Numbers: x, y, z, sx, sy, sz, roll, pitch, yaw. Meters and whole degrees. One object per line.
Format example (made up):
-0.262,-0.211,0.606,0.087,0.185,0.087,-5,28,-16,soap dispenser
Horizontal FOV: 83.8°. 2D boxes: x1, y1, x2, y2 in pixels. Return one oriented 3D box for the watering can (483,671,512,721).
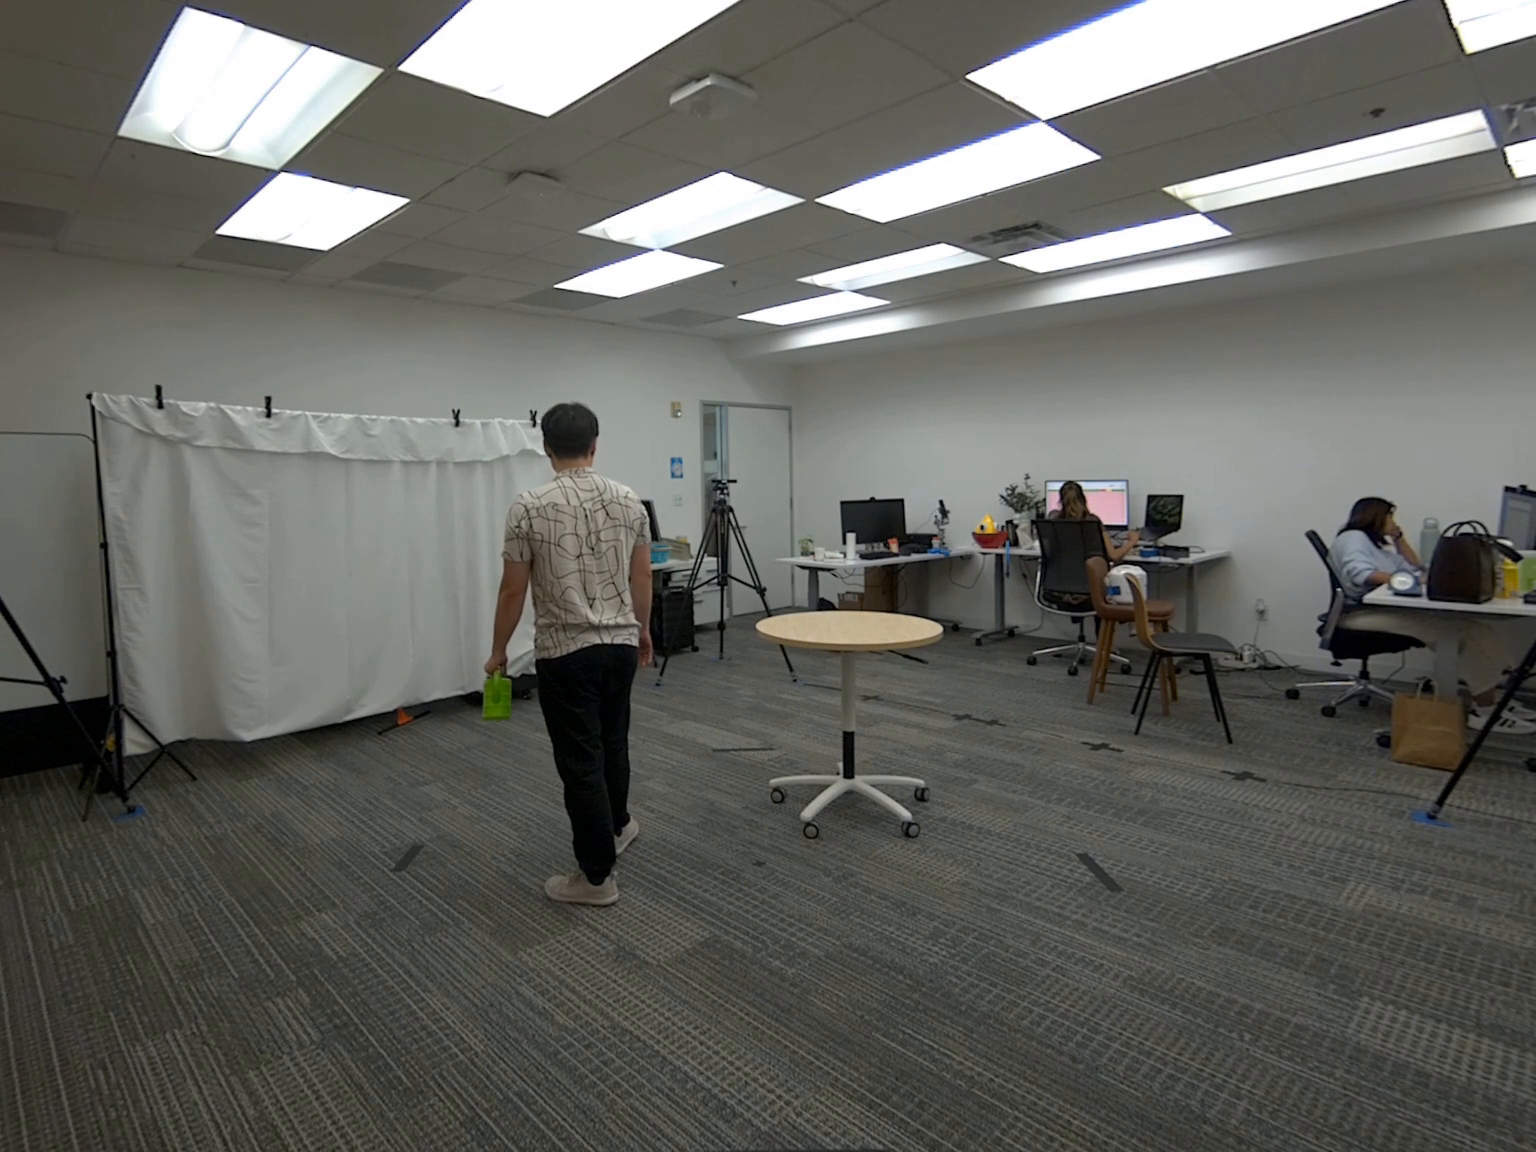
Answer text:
-0.930,0.414,2.982,0.098,0.179,0.275,-2,-13,-2,watering can
